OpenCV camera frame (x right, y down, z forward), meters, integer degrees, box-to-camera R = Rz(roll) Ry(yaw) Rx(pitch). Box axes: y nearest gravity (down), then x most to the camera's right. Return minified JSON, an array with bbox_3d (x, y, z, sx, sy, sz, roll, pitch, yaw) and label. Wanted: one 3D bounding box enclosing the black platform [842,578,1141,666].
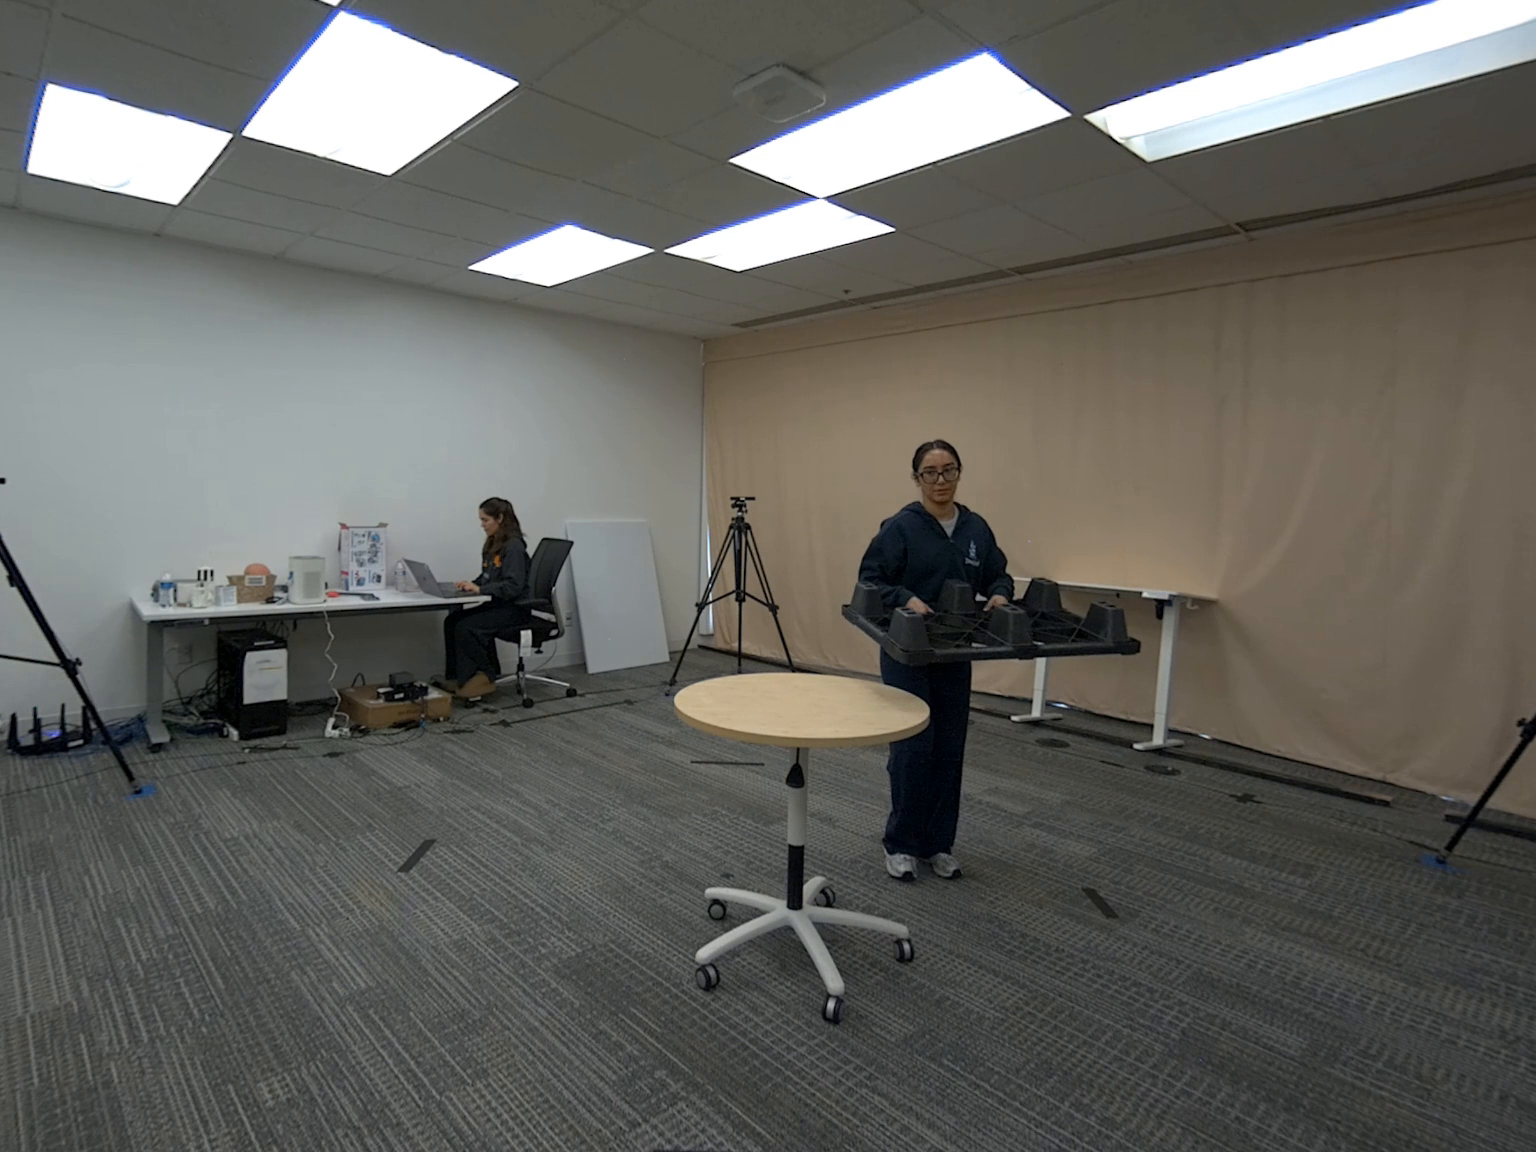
[{"bbox_3d":[0.707,0.136,2.842,0.798,0.142,0.615,-2,12,-12],"label":"black platform"}]
